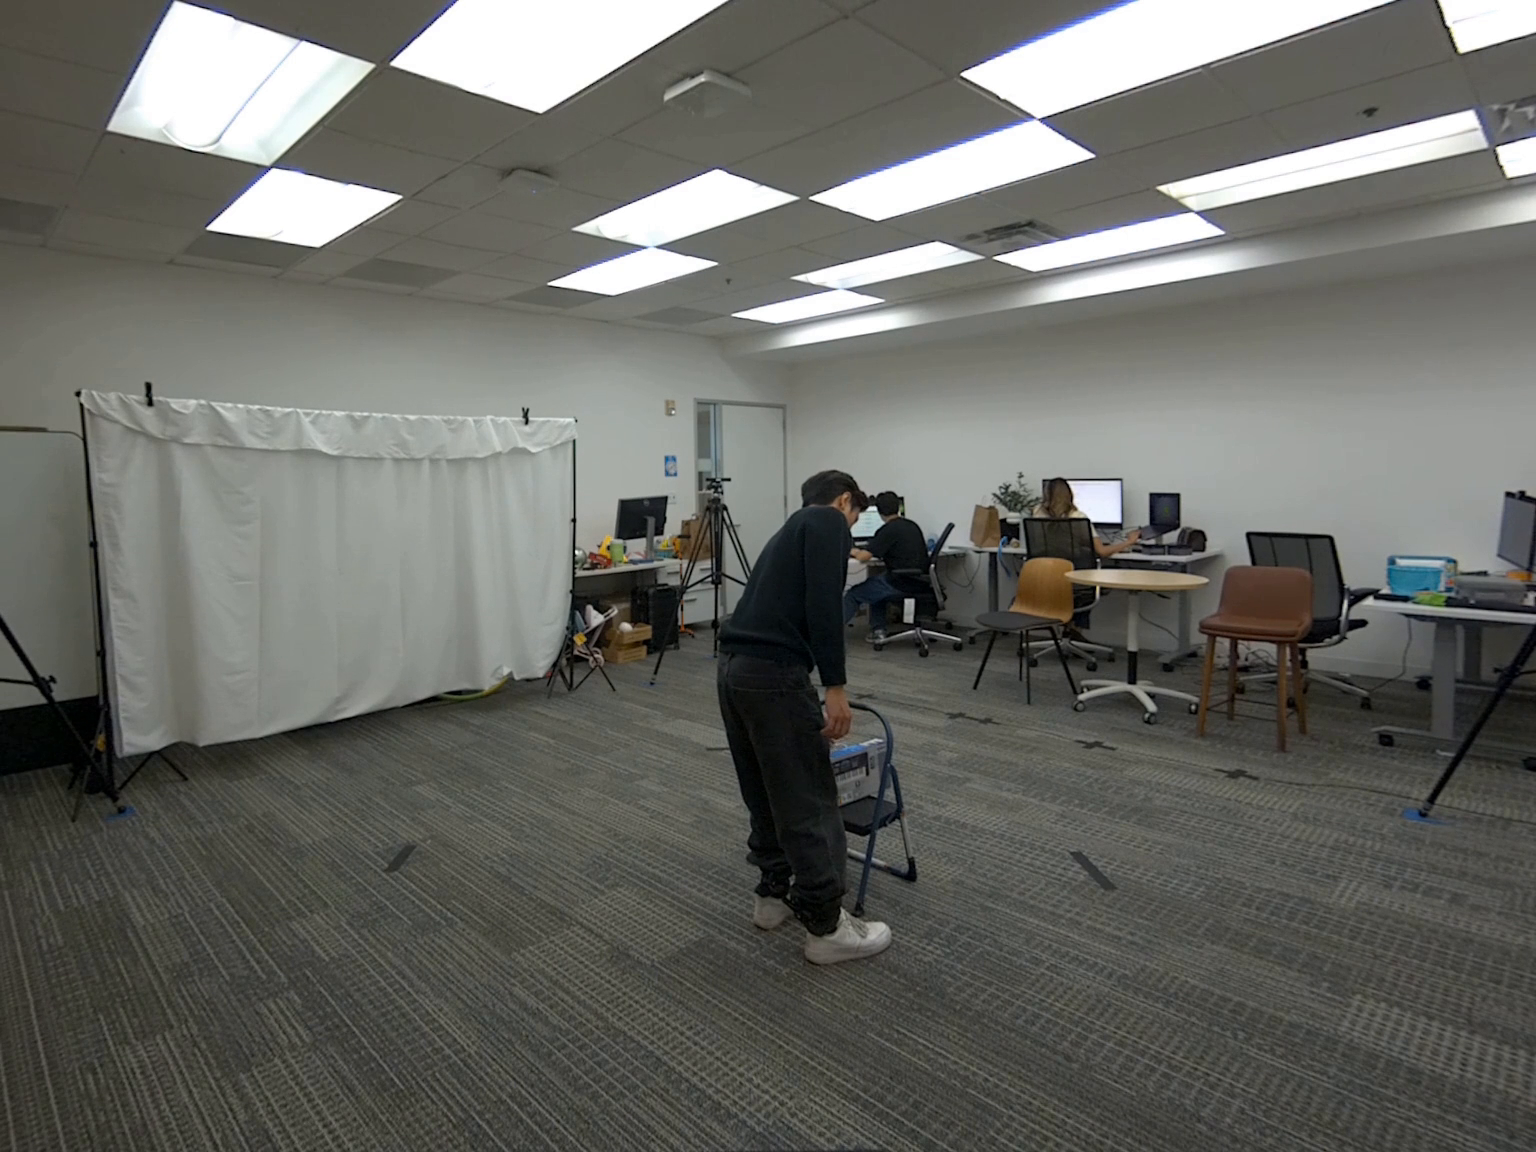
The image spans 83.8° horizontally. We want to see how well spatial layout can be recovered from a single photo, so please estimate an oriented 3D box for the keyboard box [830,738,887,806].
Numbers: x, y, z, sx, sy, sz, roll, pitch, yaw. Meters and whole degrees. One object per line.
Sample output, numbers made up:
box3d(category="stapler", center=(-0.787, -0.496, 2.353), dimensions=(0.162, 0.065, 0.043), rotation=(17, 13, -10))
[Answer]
box3d(category="keyboard box", center=(0.253, 0.701, 2.981), dimensions=(0.426, 0.175, 0.061), rotation=(-8, 3, -38))
